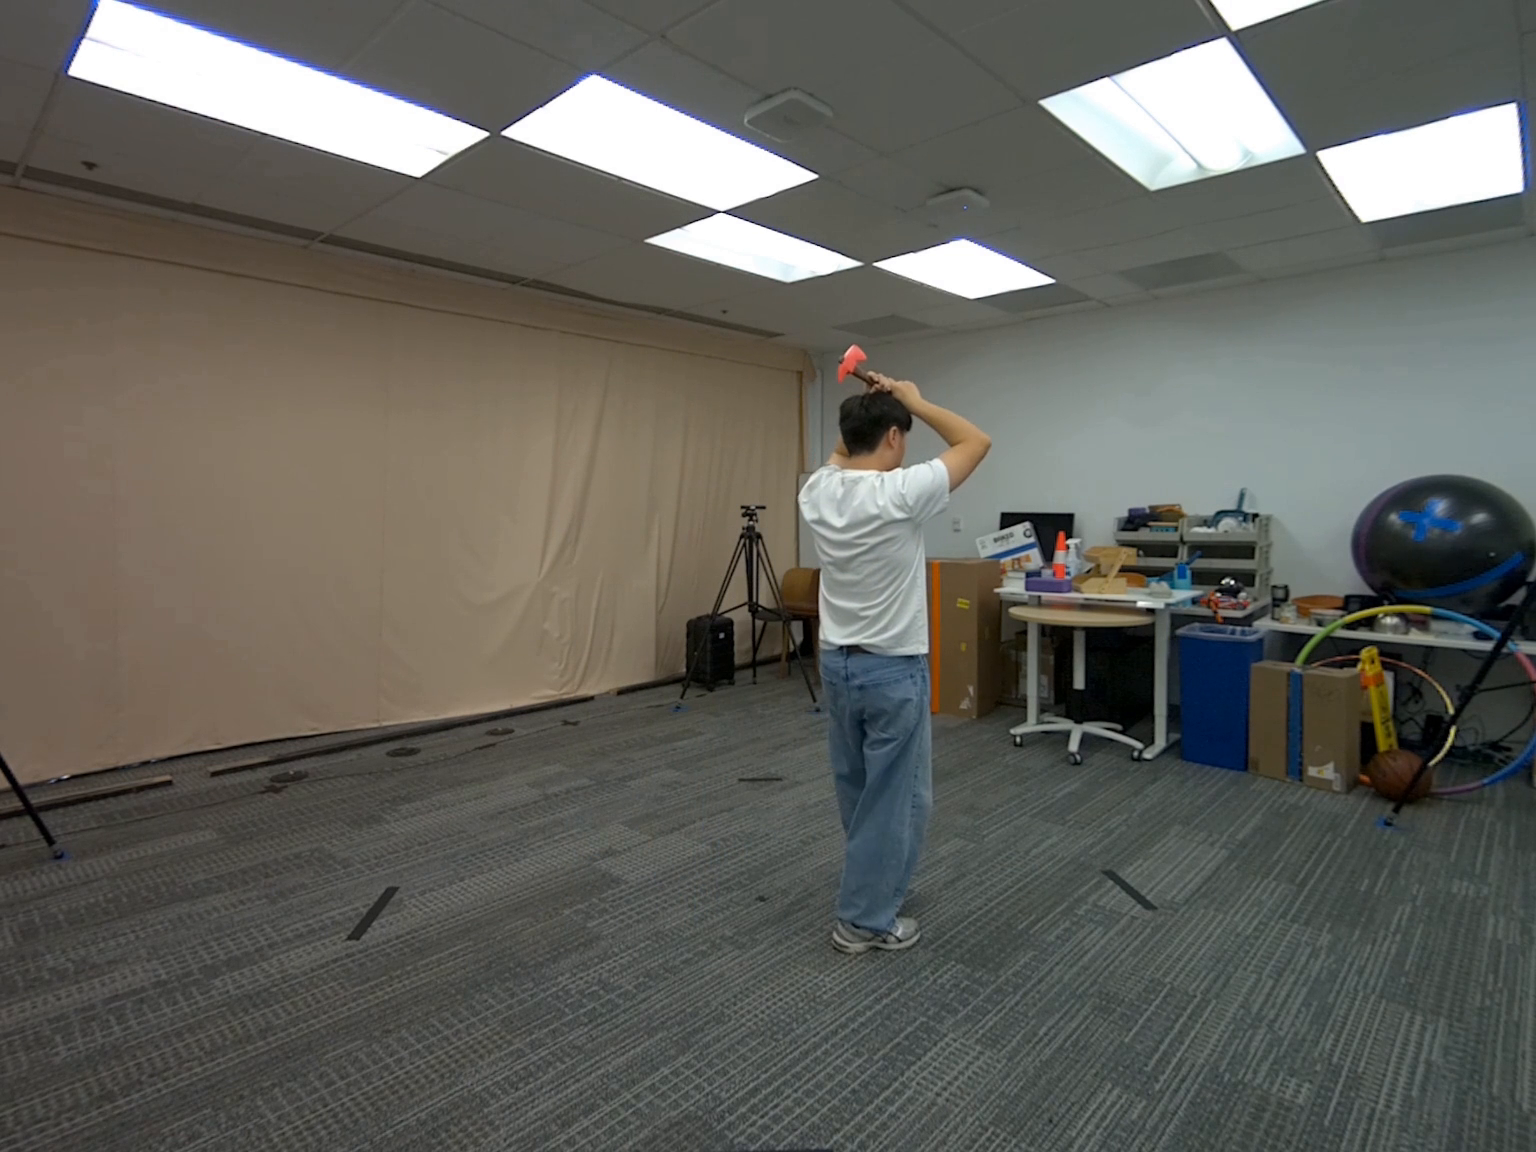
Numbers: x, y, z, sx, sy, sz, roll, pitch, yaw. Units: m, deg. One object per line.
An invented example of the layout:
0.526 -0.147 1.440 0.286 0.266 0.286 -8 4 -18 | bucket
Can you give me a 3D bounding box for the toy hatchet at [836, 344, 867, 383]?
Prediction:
0.346 -0.646 2.655 0.264 0.131 0.030 8 -9 -18 | toy hatchet
